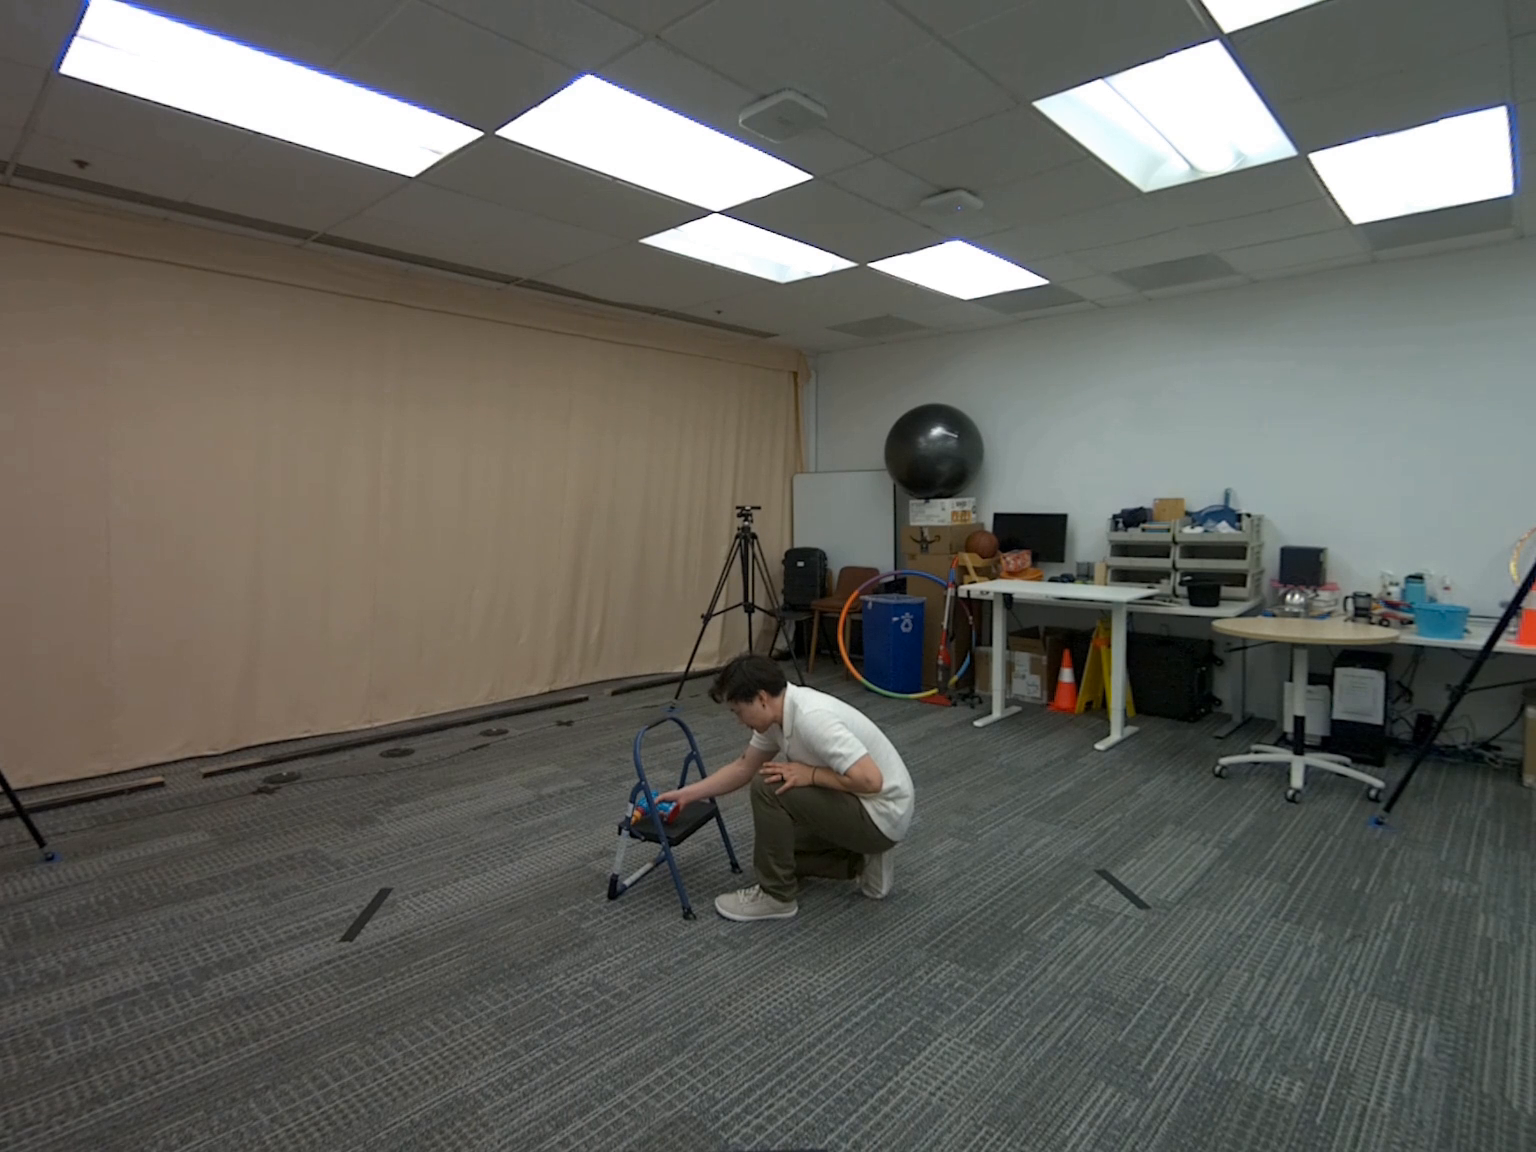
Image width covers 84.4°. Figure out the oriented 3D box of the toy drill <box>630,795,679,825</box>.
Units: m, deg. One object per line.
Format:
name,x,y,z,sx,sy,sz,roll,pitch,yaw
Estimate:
toy drill,-0.411,0.854,2.983,0.151,0.060,0.168,17,43,32
